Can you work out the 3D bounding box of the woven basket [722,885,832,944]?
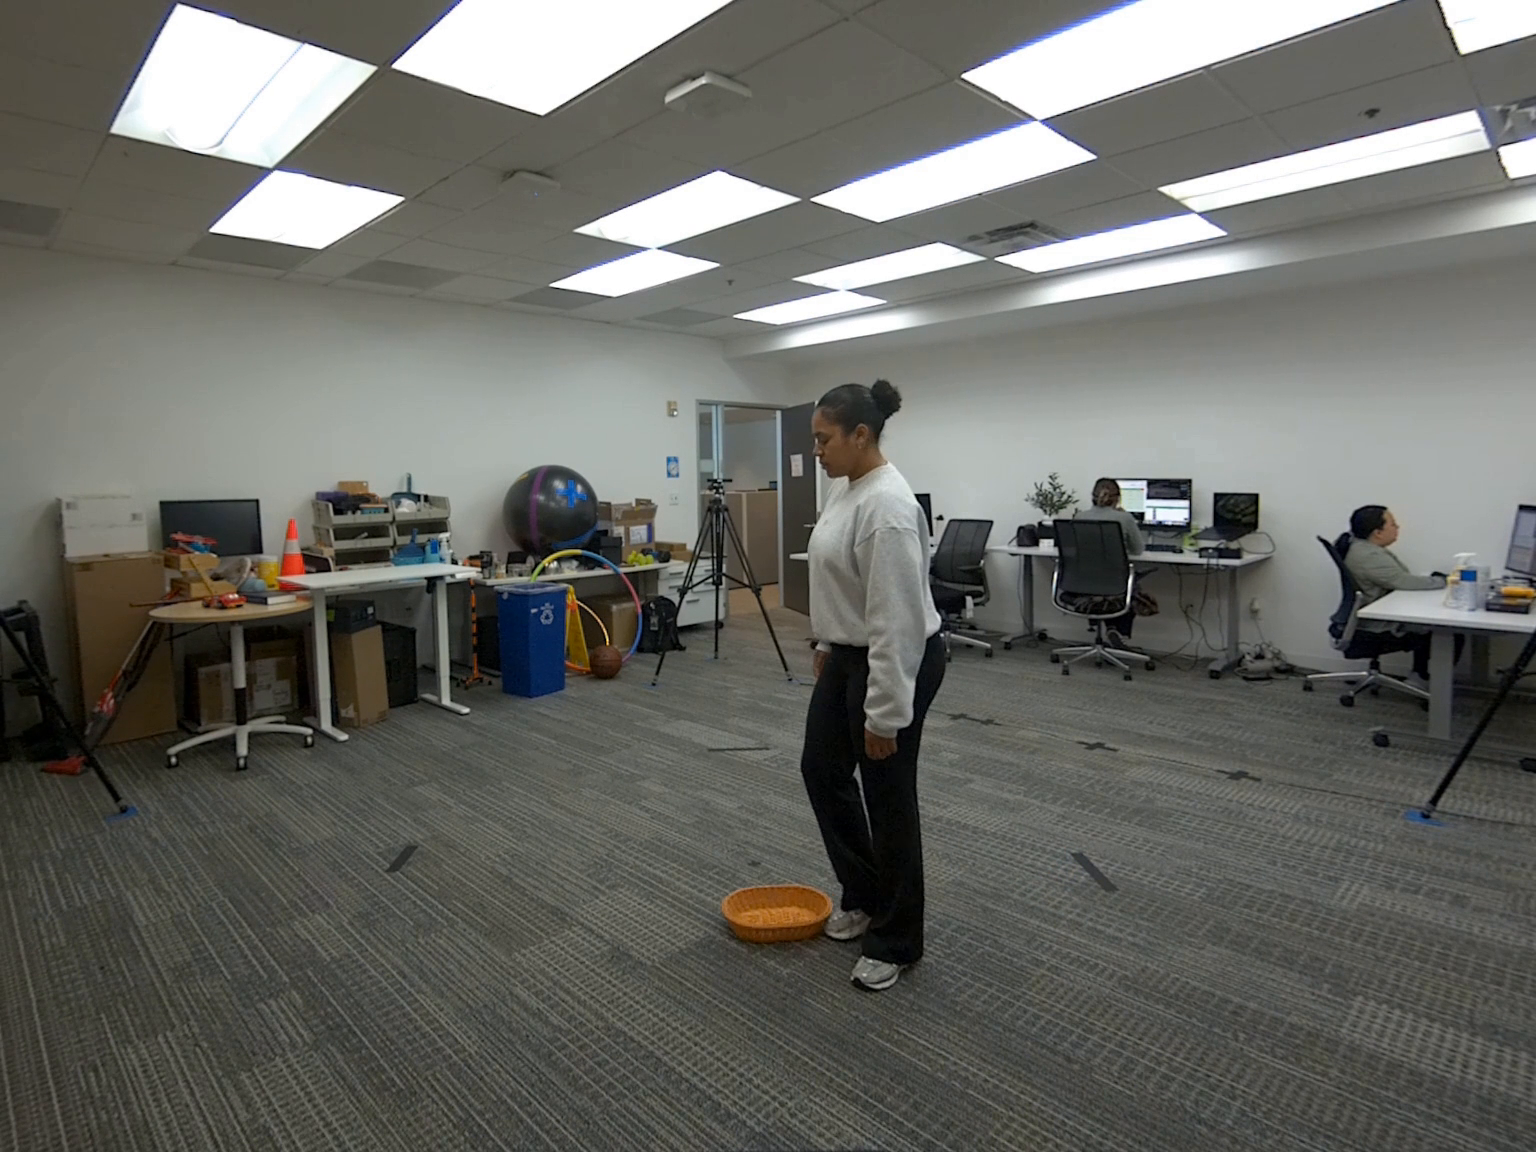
[{"bbox_3d":[0.000,1.053,2.675,0.349,0.073,0.254,-1,6,-4],"label":"woven basket"}]
